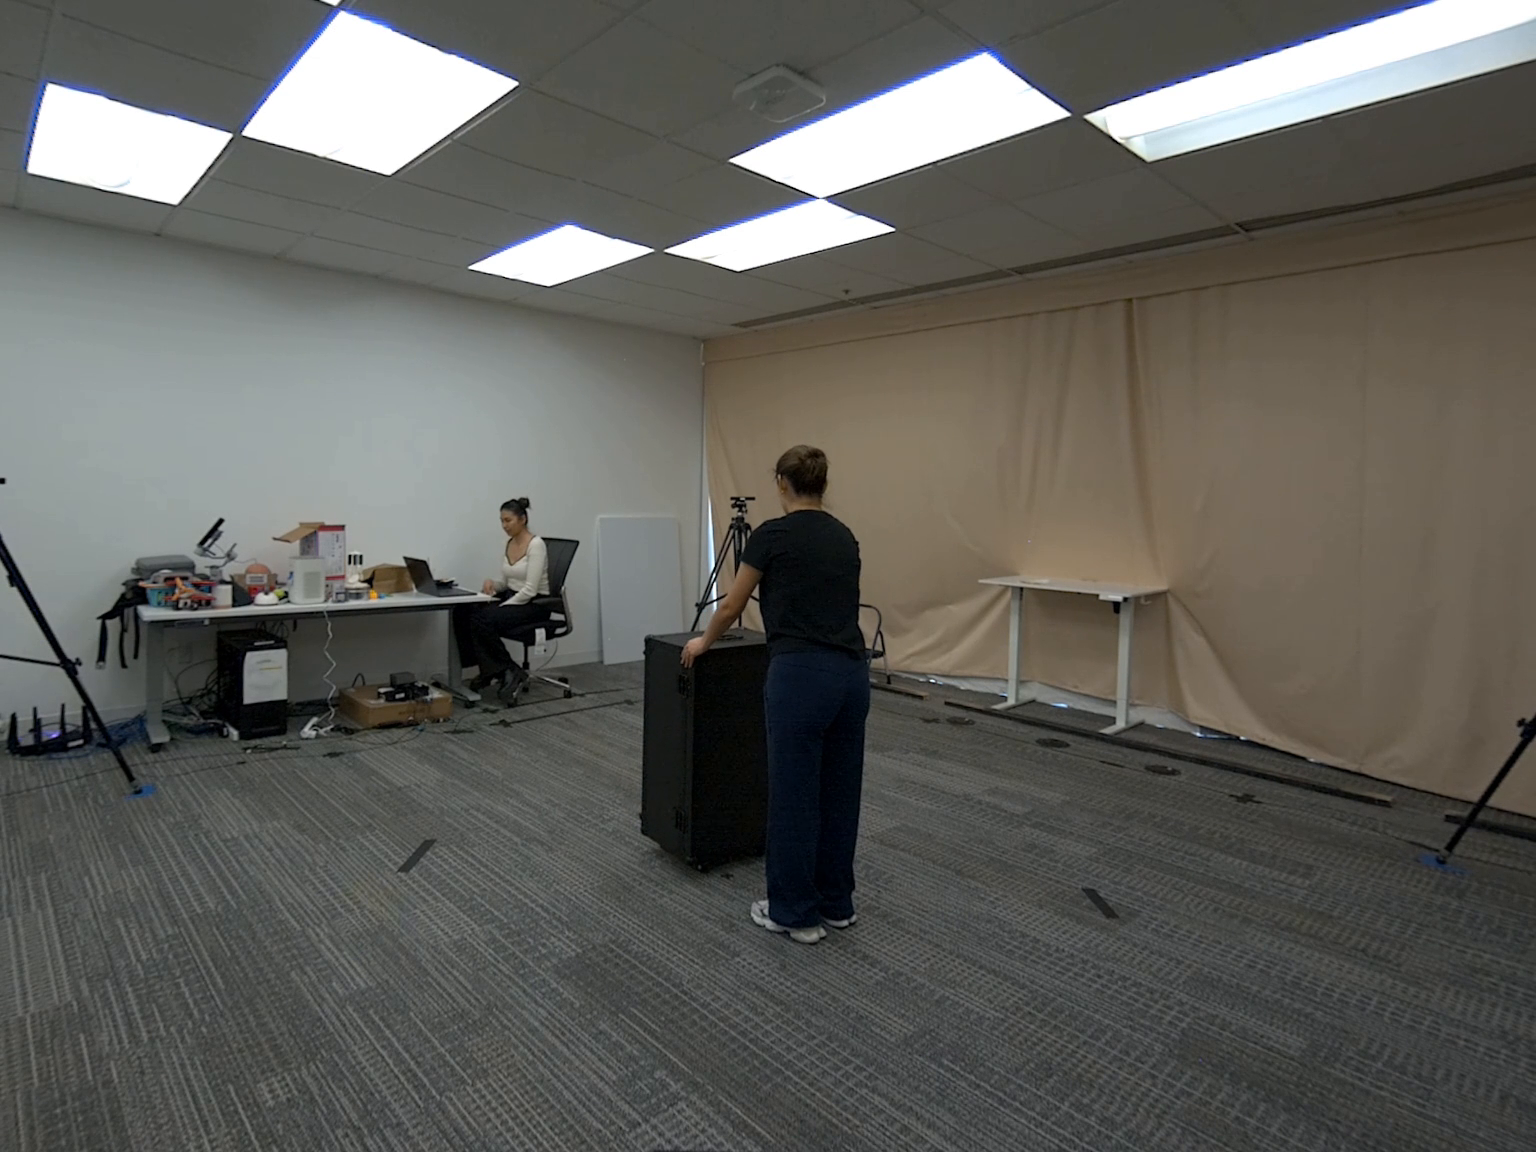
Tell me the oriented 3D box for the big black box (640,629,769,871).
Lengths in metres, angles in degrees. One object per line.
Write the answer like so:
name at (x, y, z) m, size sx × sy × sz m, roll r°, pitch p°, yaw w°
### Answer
big black box at (-0.209, 0.664, 3.275) m, size 0.509 × 0.860 × 0.406 m, roll -1°, pitch 3°, yaw -37°
